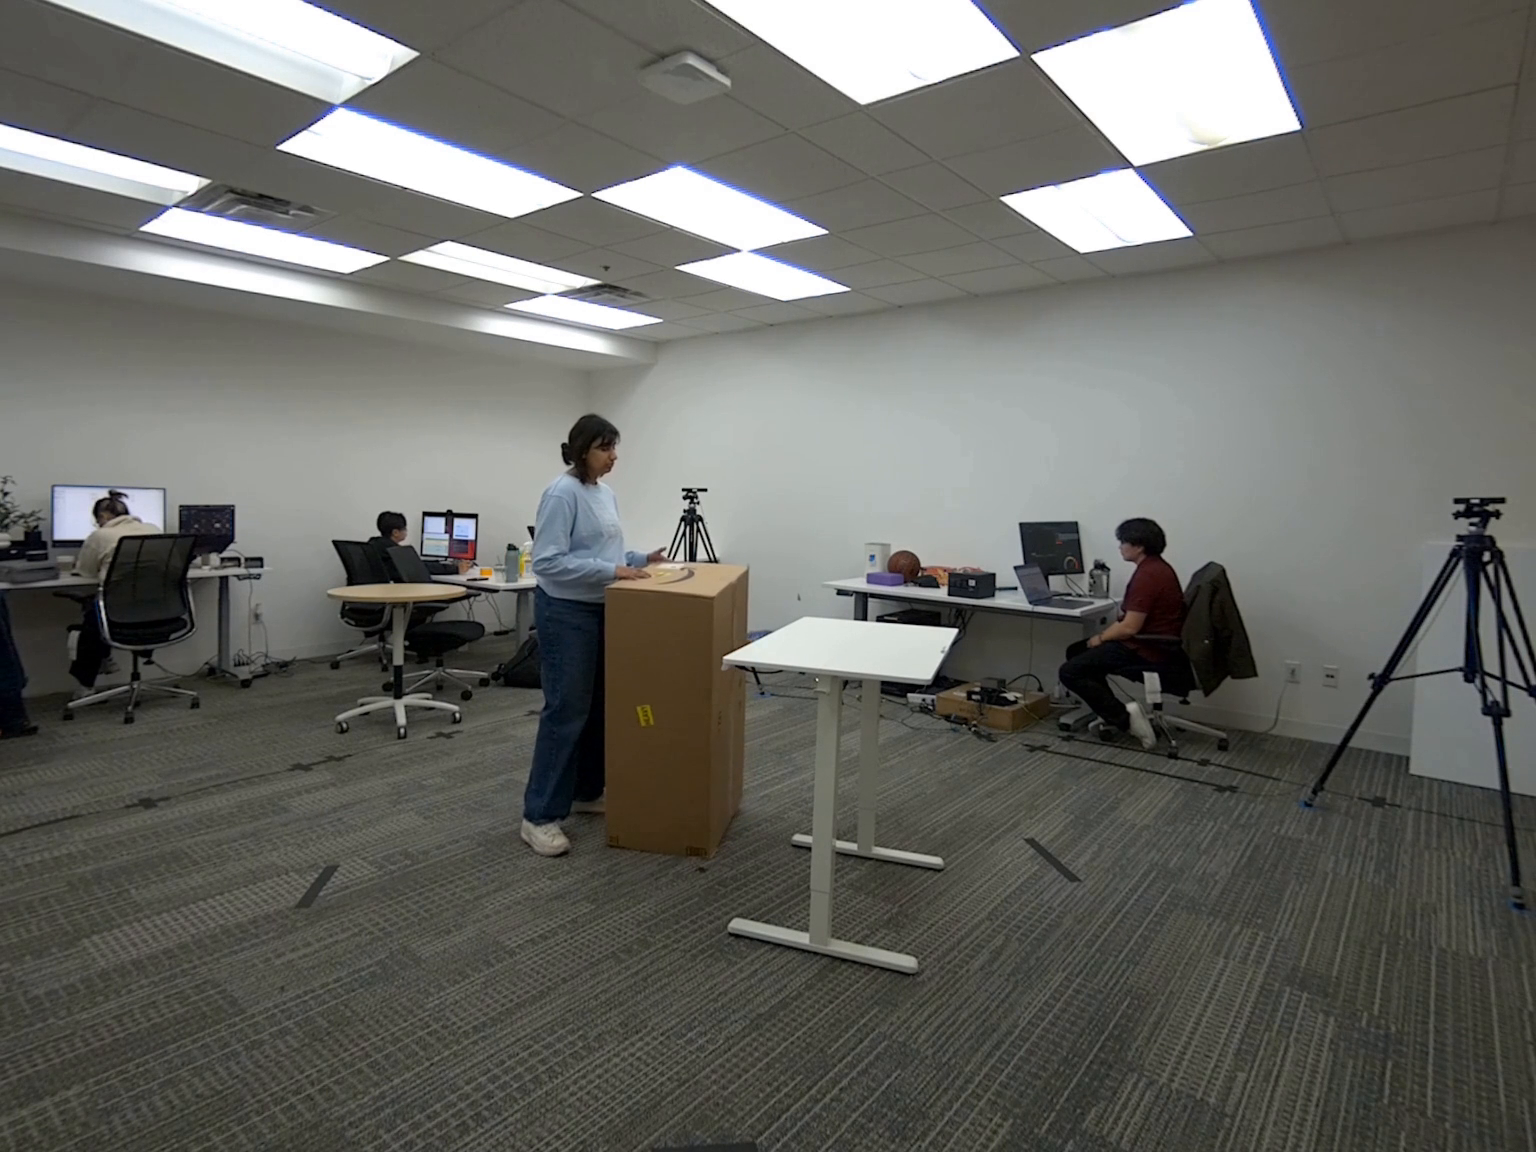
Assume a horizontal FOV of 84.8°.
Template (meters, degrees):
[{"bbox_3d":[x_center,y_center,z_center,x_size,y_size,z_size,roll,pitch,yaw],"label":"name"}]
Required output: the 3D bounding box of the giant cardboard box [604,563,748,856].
[{"bbox_3d":[-0.364,0.501,3.425,0.433,1.017,0.574,4,10,13],"label":"giant cardboard box"}]
